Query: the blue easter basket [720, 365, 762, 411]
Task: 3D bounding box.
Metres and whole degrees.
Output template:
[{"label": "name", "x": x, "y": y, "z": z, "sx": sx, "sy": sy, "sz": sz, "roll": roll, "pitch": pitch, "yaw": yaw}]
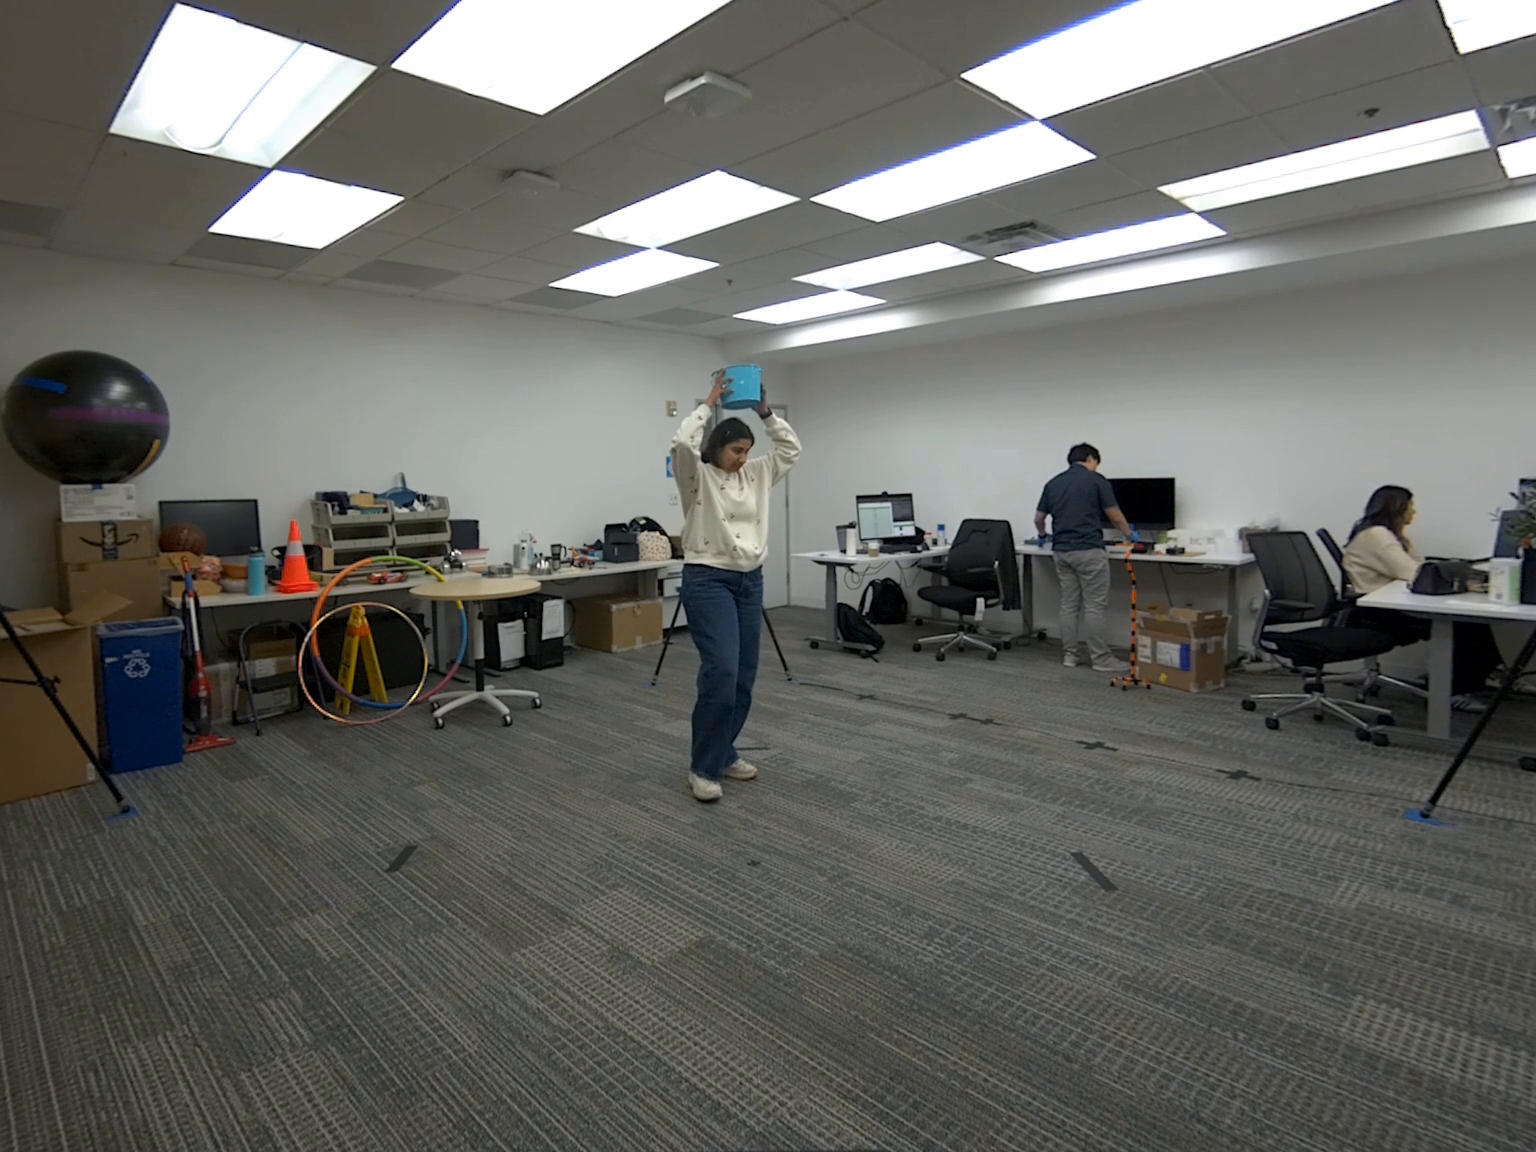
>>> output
[{"label": "blue easter basket", "x": -0.122, "y": -0.857, "z": 3.893, "sx": 0.243, "sy": 0.157, "sz": 0.242, "roll": -8, "pitch": -5, "yaw": -2}]
